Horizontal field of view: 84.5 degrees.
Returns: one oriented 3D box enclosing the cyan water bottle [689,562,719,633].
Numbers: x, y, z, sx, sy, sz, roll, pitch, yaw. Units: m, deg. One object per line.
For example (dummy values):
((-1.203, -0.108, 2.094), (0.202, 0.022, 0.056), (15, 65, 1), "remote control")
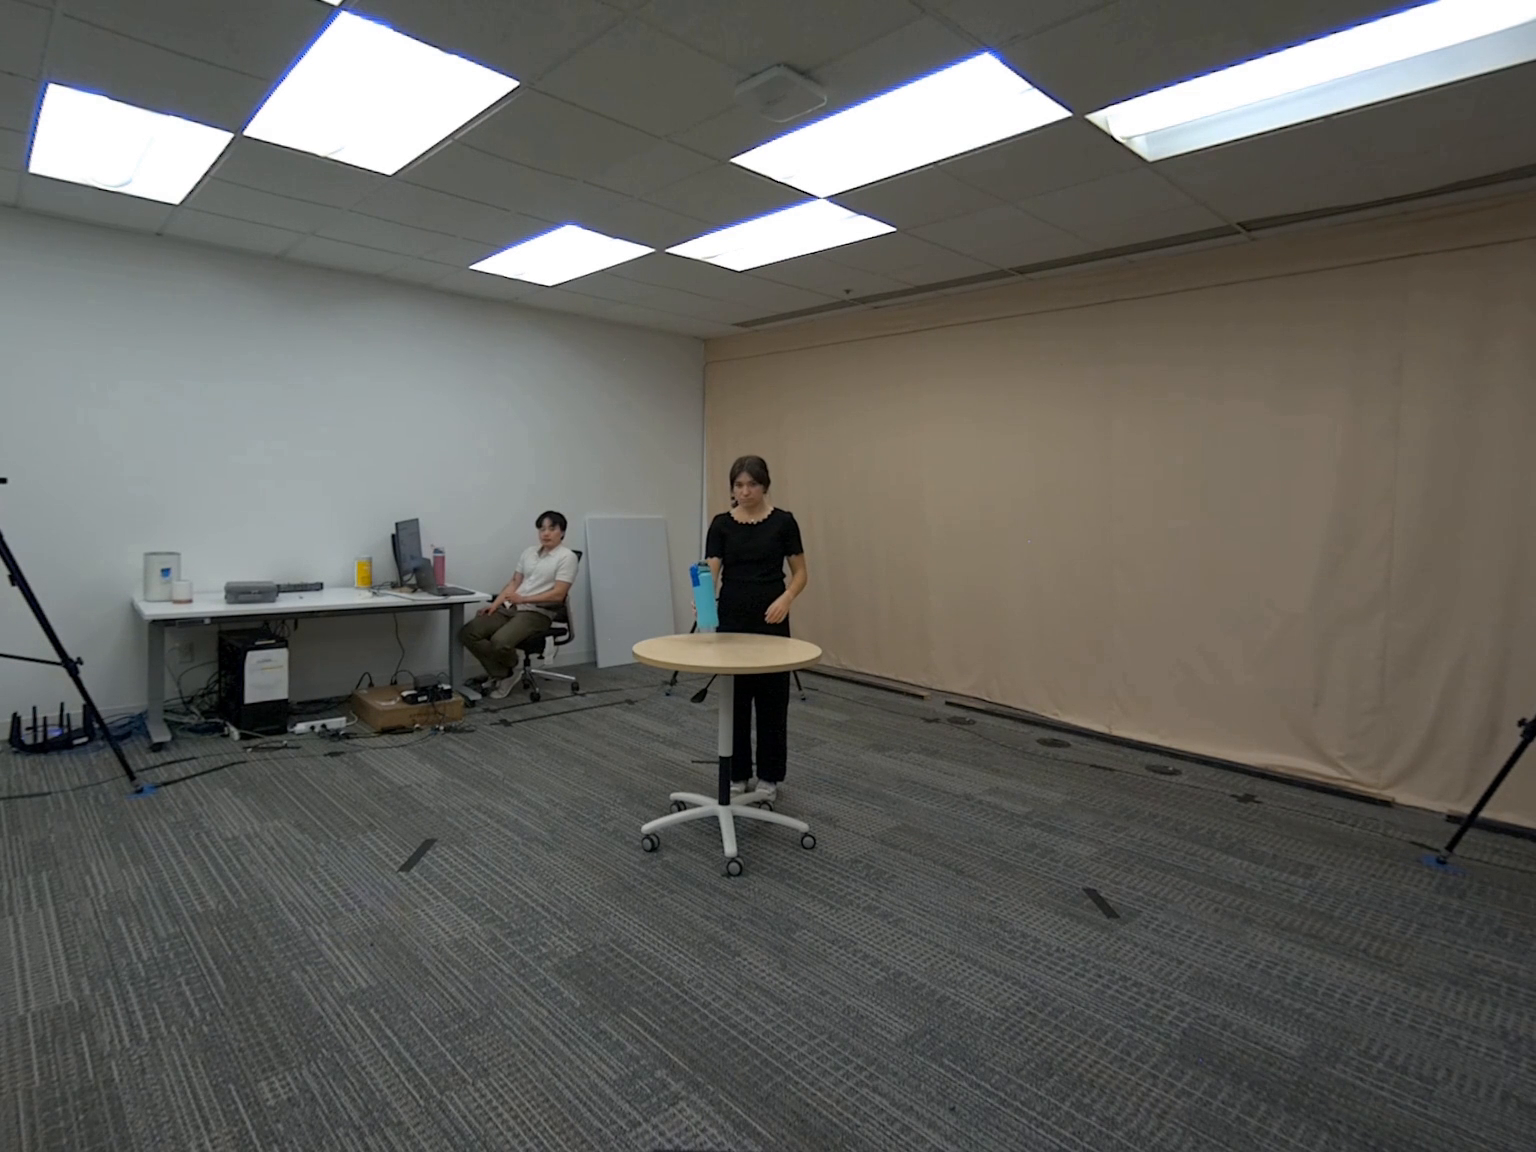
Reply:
((-0.283, 0.070, 3.541), (0.092, 0.284, 0.092), (-7, -2, -1), "cyan water bottle")
